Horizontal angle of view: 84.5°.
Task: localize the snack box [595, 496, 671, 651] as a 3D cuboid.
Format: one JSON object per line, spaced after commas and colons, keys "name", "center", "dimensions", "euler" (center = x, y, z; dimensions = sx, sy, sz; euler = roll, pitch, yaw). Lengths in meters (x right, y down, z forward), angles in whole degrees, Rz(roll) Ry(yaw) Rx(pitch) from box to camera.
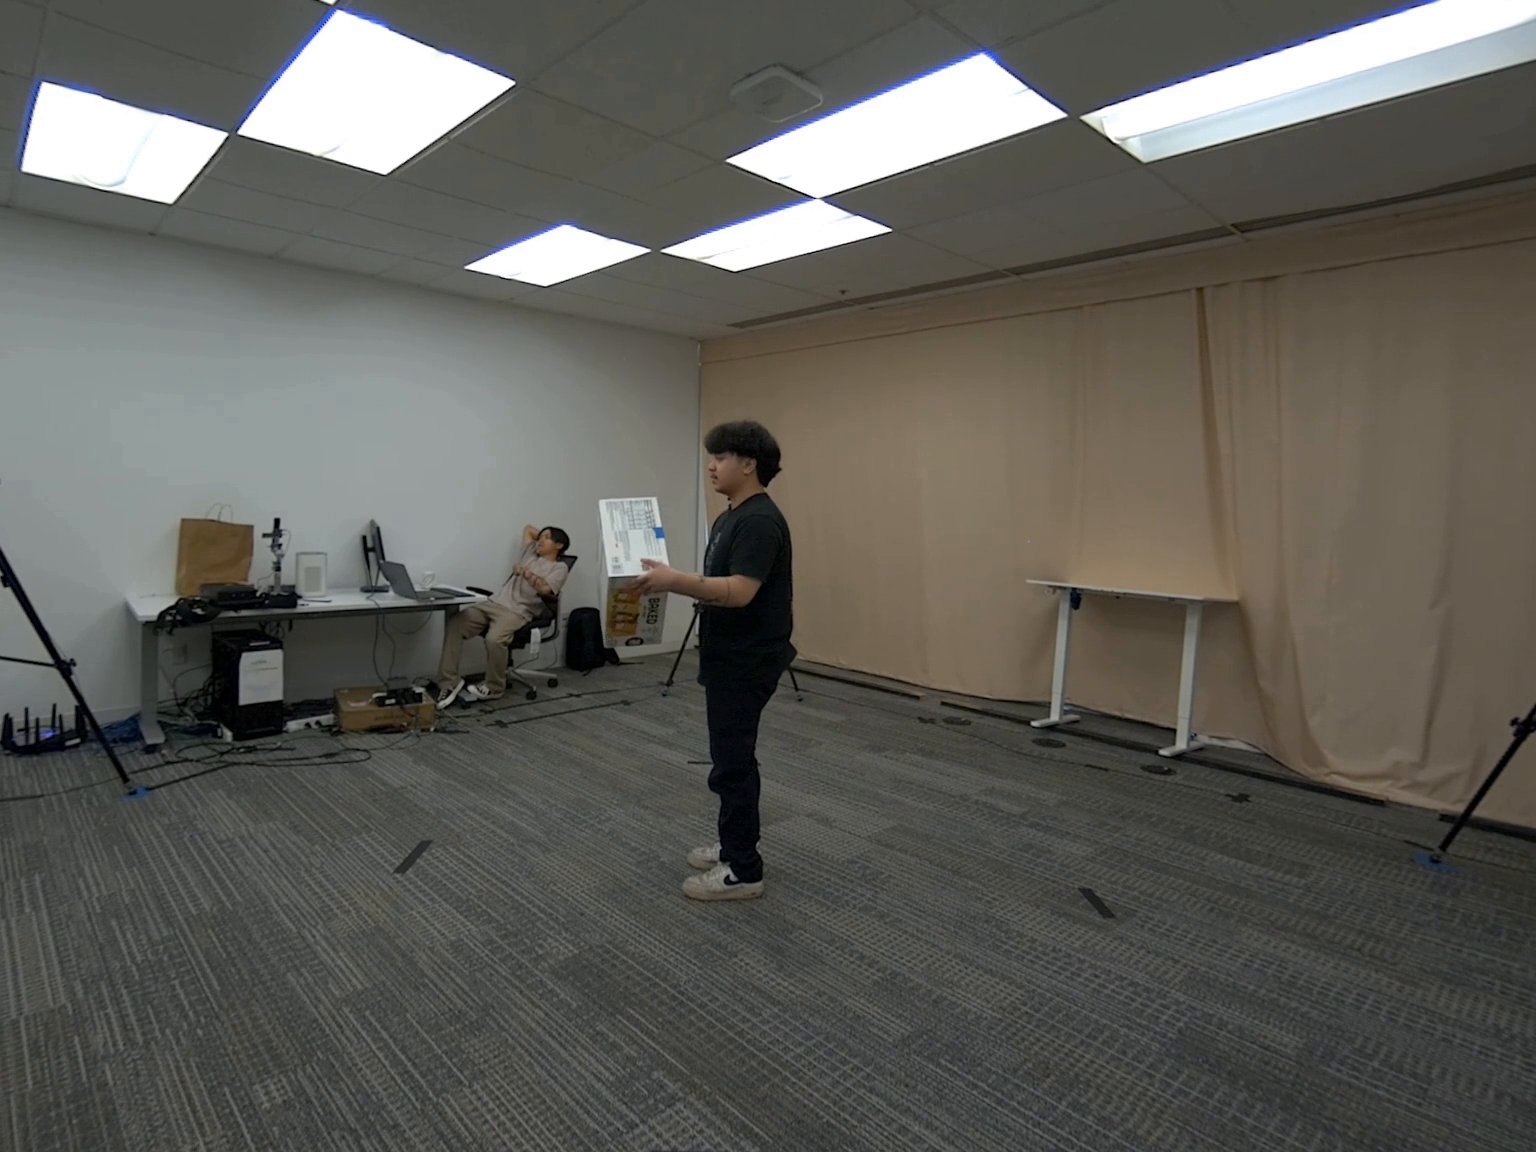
{"name": "snack box", "center": [-0.476, -0.009, 2.920], "dimensions": [0.203, 0.349, 0.398], "euler": [-4, -39, -15]}
